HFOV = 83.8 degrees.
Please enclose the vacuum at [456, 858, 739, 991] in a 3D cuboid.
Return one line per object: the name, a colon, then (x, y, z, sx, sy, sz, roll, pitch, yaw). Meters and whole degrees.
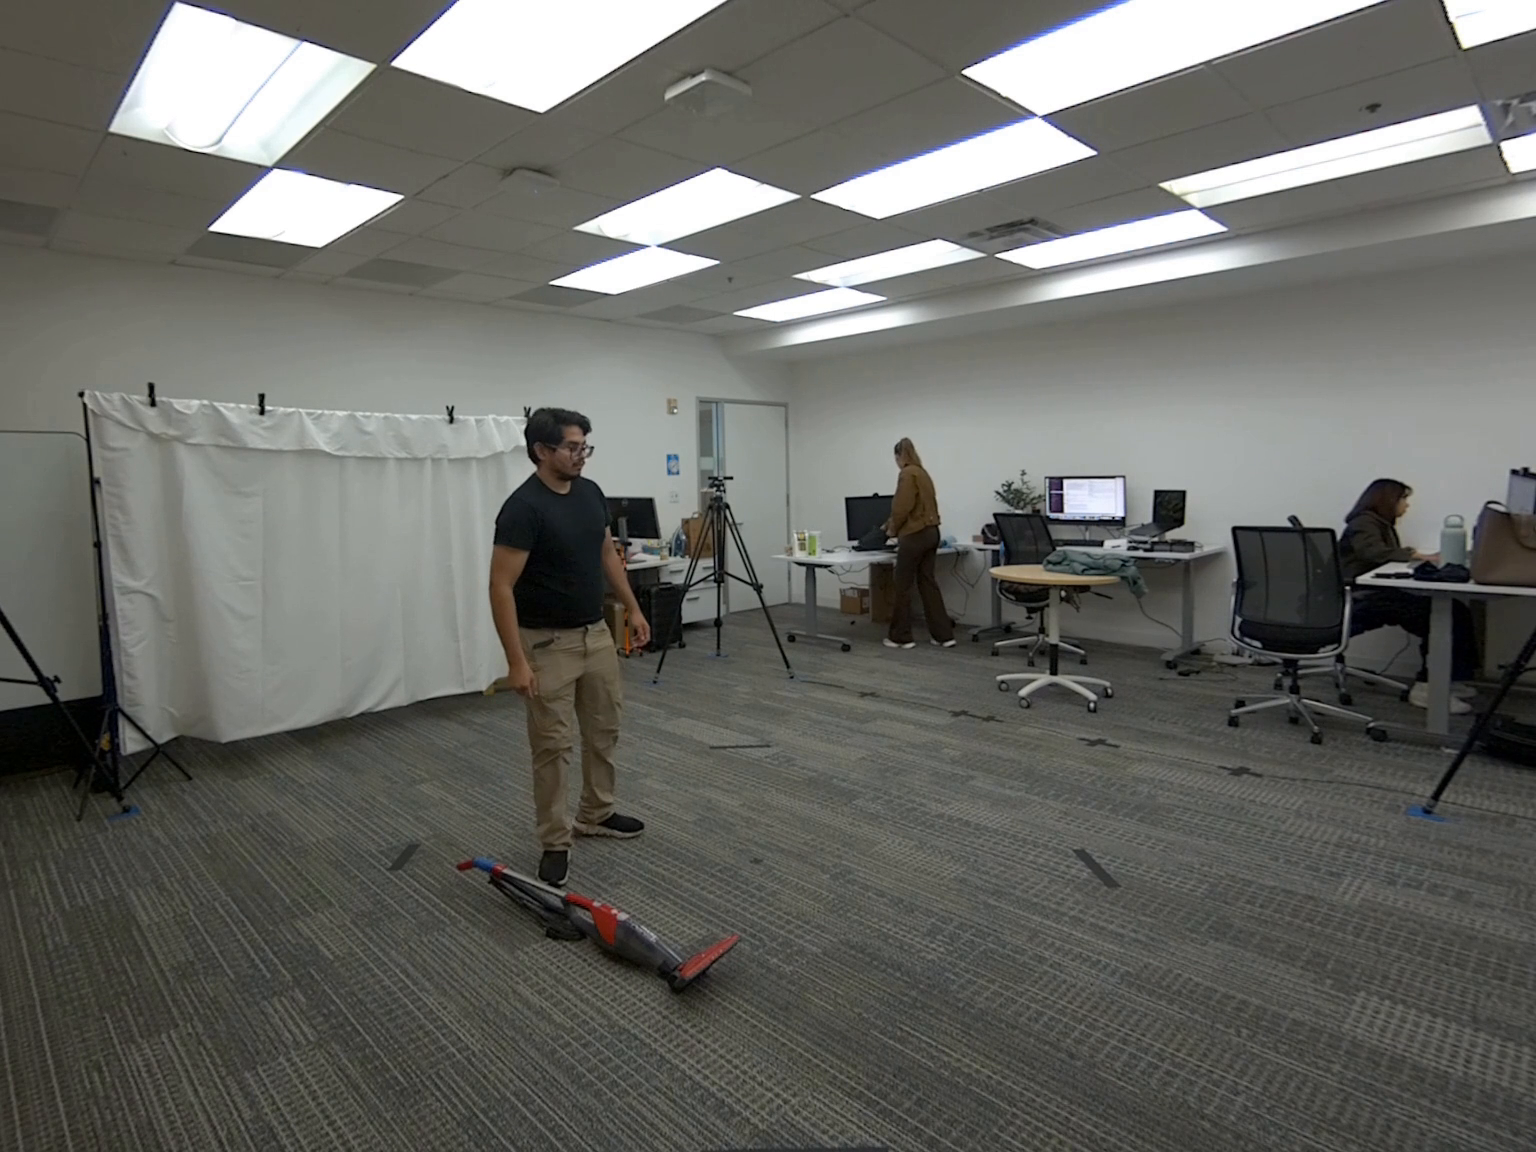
vacuum: (-0.615, 1.050, 2.649, 1.080, 0.143, 0.246, 4, 6, 35)
